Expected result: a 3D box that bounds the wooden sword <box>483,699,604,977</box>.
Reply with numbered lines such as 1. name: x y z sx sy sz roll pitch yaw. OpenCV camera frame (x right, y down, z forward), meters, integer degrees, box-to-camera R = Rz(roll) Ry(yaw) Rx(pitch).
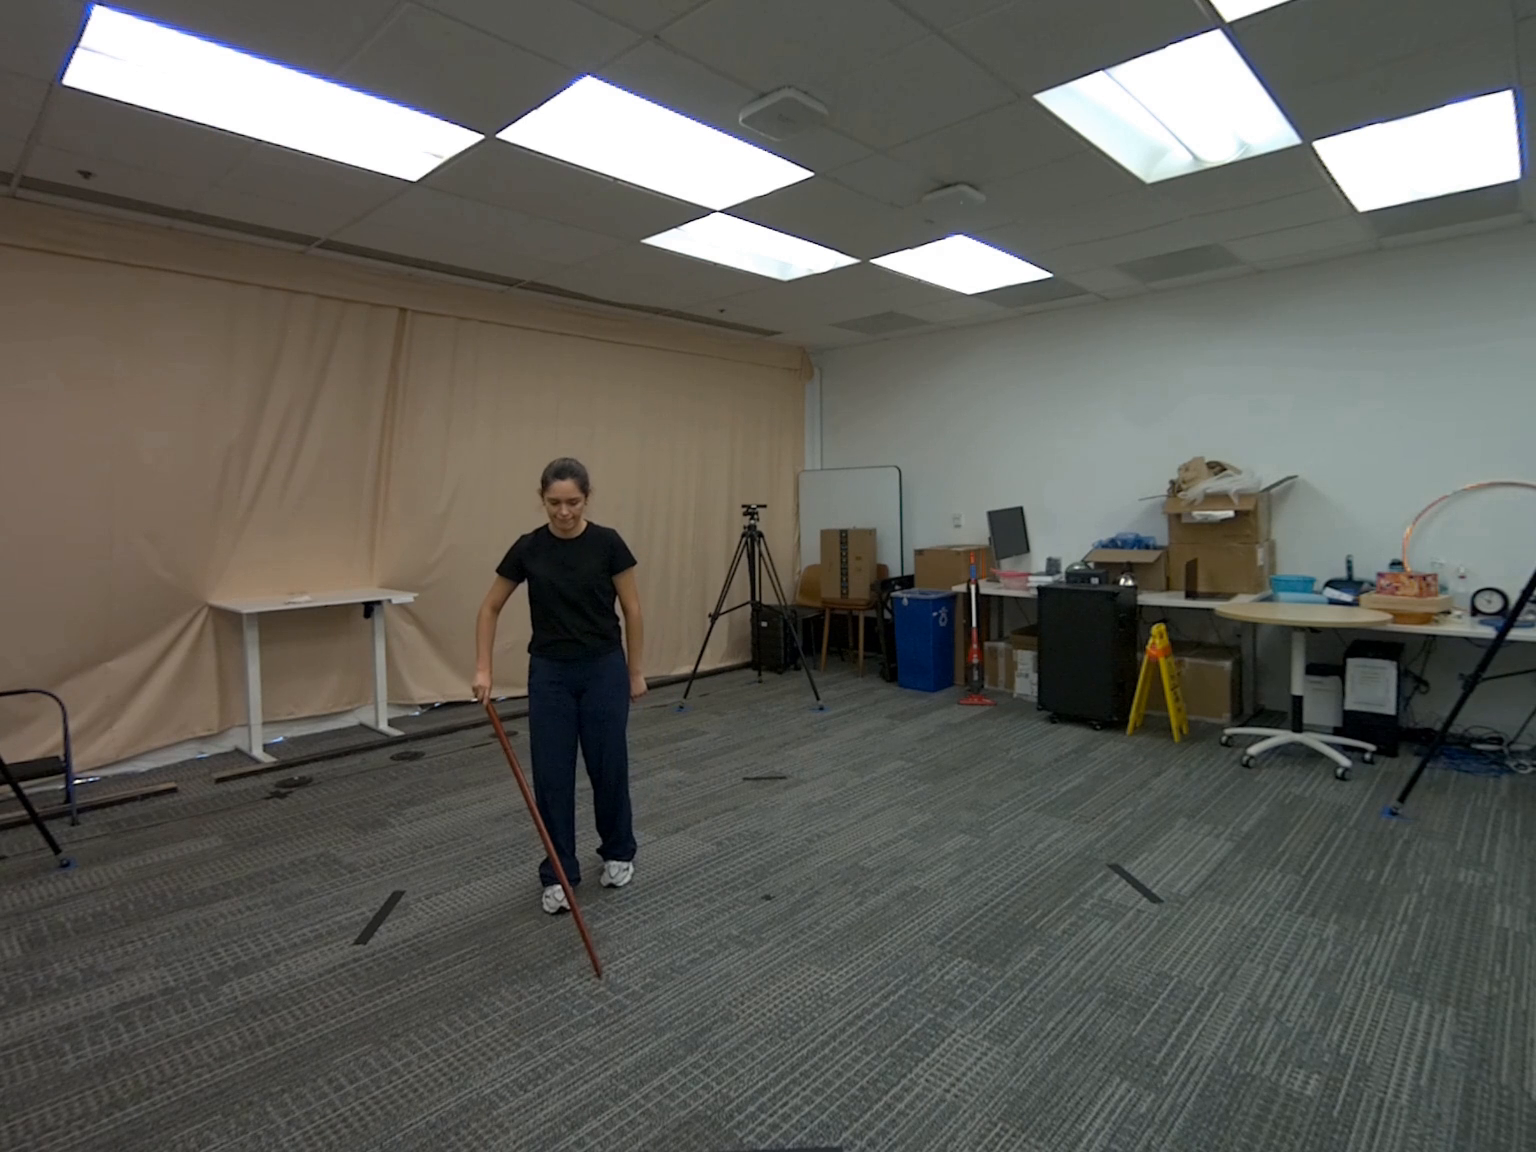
1. wooden sword: -0.720 0.779 2.714 0.024 1.052 0.051 -20 -29 -24
